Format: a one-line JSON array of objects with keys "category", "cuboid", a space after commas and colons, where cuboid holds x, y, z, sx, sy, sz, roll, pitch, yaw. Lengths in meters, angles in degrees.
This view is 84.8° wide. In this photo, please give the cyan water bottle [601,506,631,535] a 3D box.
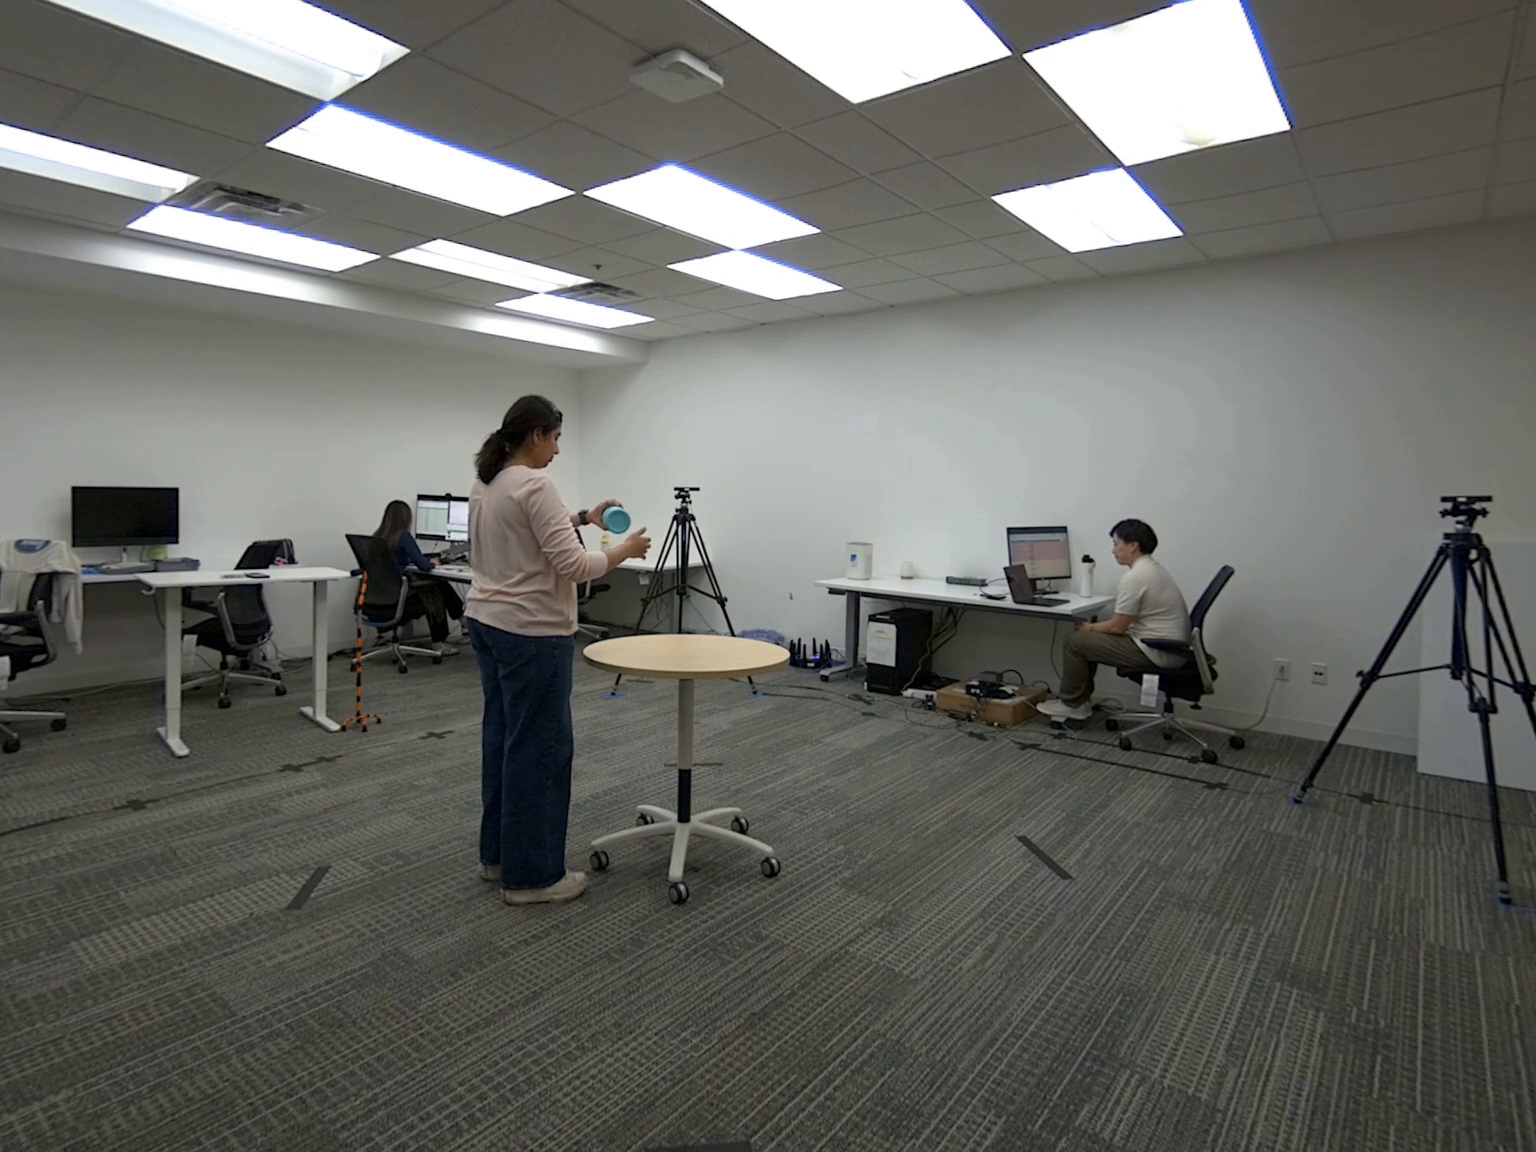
[{"category": "cyan water bottle", "cuboid": [-0.589, -0.216, 3.179, 0.091, 0.092, 0.289, 0, 8, -15]}]
